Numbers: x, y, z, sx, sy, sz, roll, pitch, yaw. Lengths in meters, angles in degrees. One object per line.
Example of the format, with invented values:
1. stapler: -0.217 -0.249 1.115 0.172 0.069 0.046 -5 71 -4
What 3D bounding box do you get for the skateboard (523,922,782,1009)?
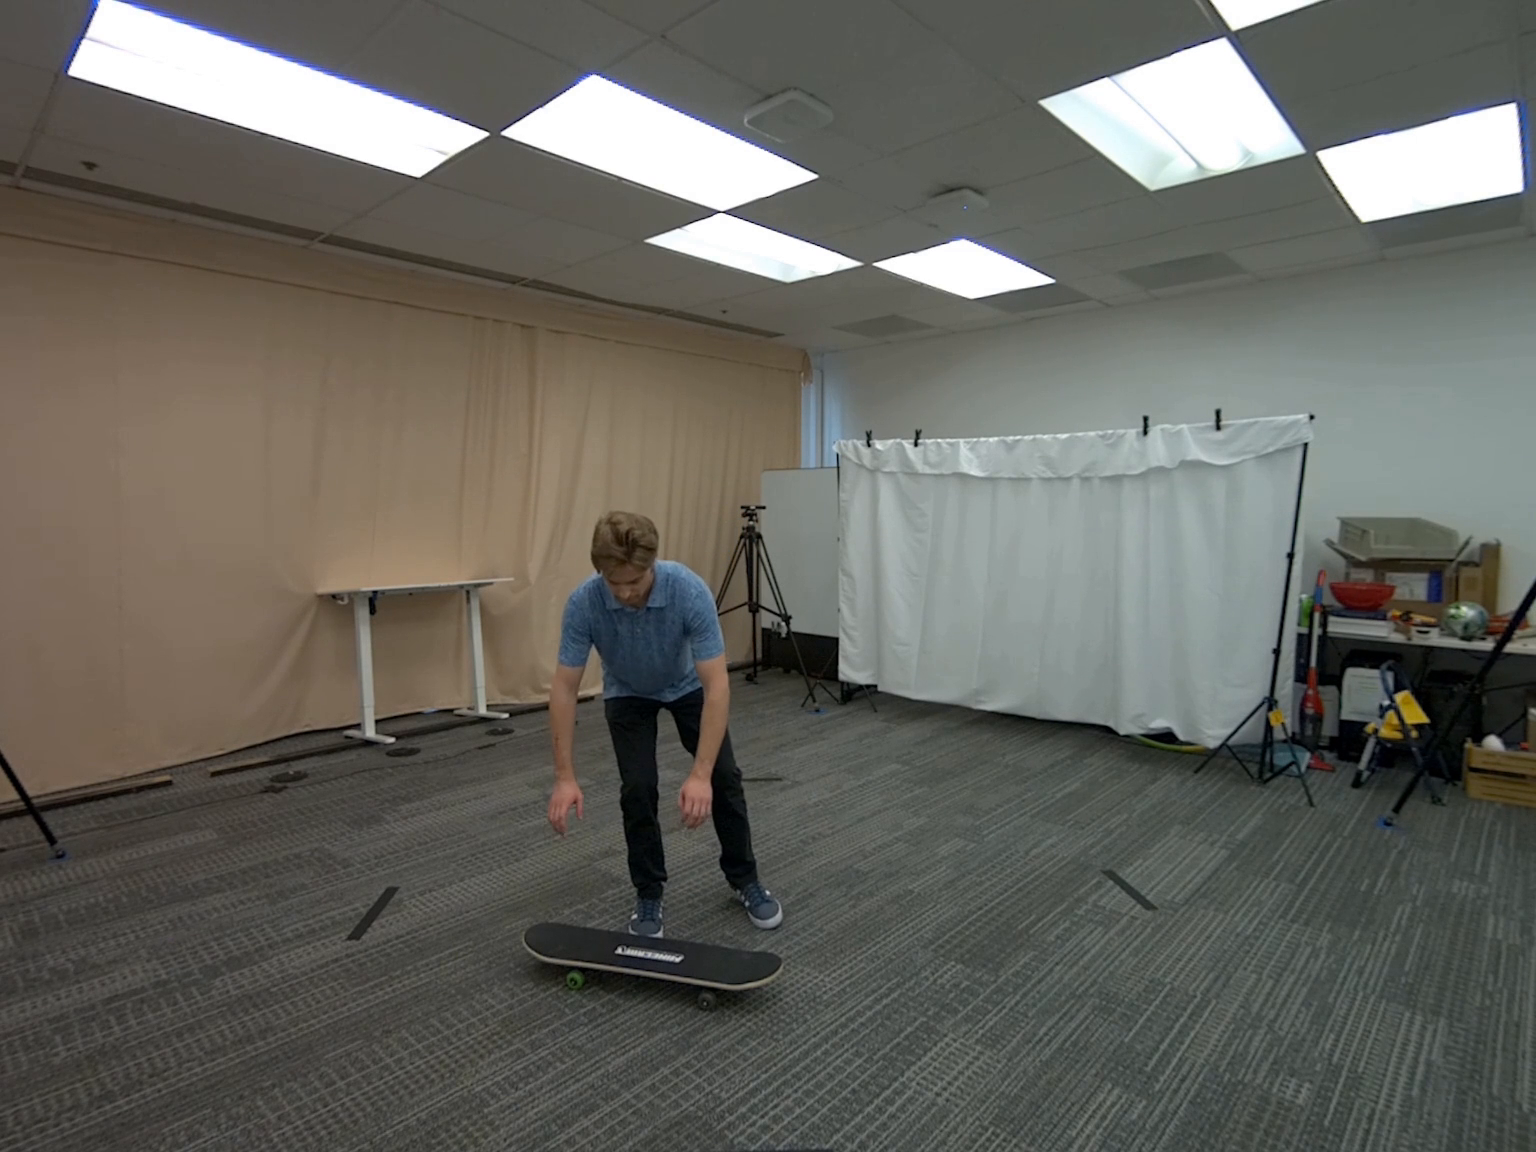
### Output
1. skateboard: -0.341 1.129 2.458 0.798 0.110 0.191 0 4 15
